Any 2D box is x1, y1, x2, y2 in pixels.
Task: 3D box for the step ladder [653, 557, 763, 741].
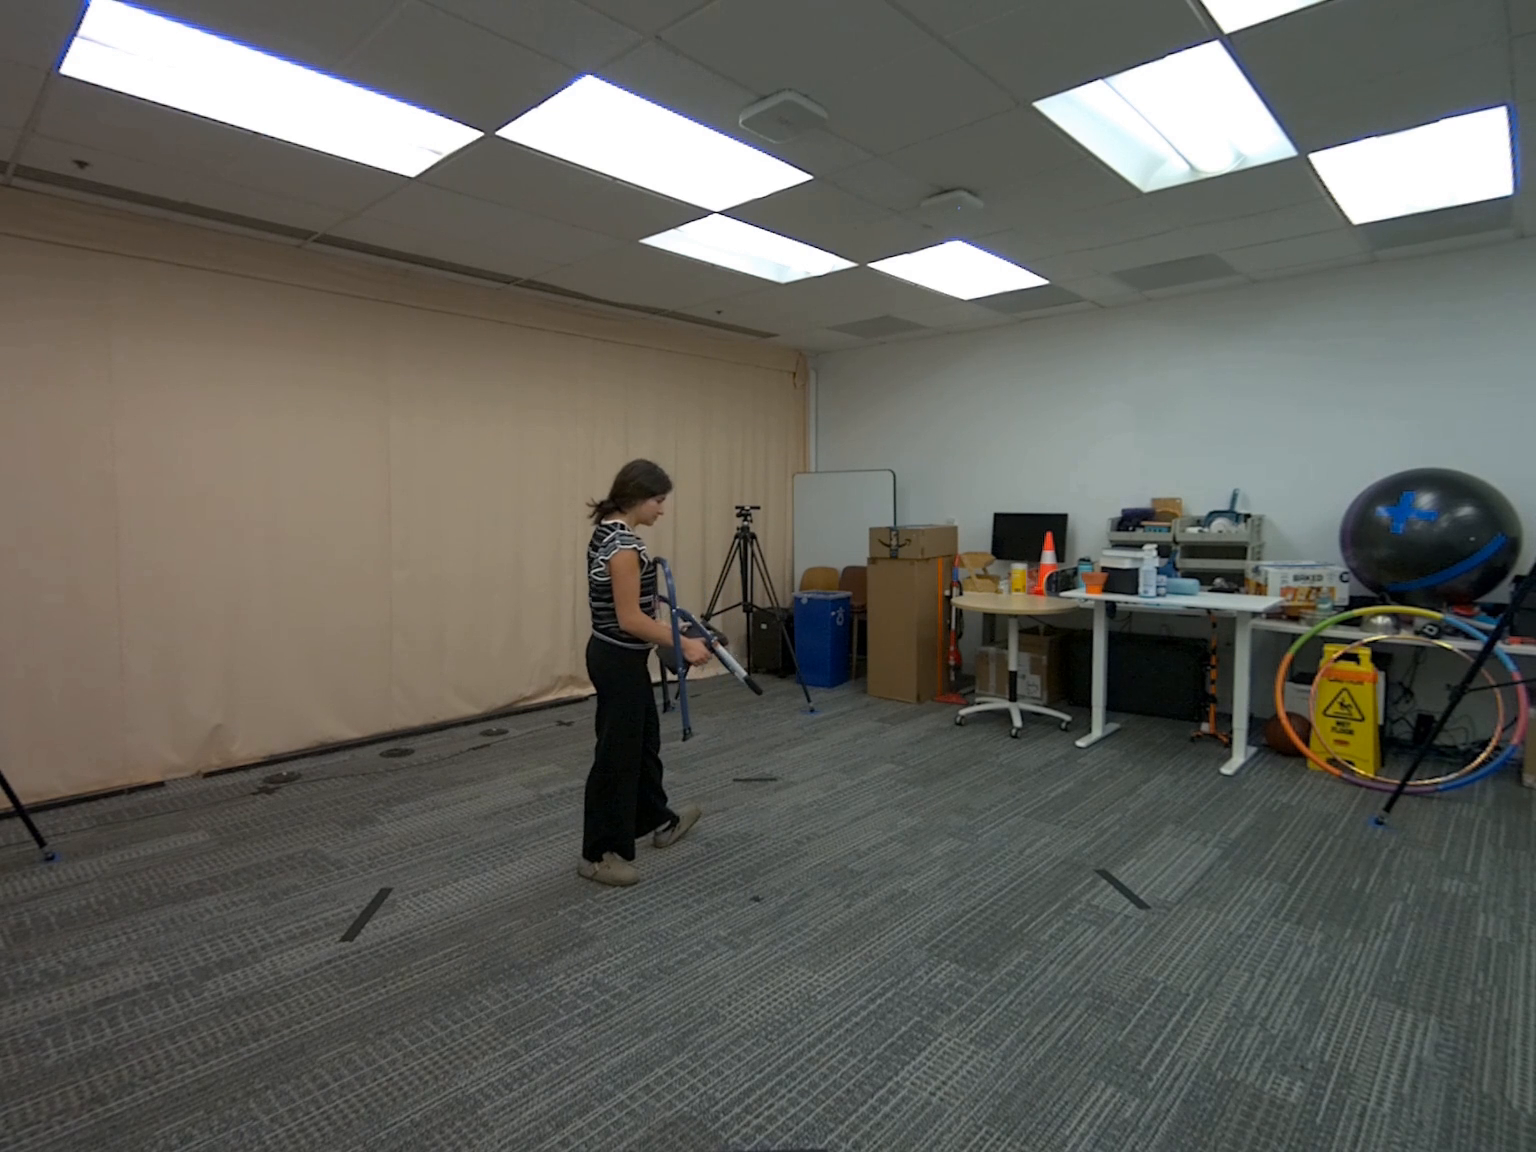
[{"bbox_3d":[-0.346,0.233,3.242,0.346,0.599,0.439,-29,12,-13],"label":"step ladder"}]
